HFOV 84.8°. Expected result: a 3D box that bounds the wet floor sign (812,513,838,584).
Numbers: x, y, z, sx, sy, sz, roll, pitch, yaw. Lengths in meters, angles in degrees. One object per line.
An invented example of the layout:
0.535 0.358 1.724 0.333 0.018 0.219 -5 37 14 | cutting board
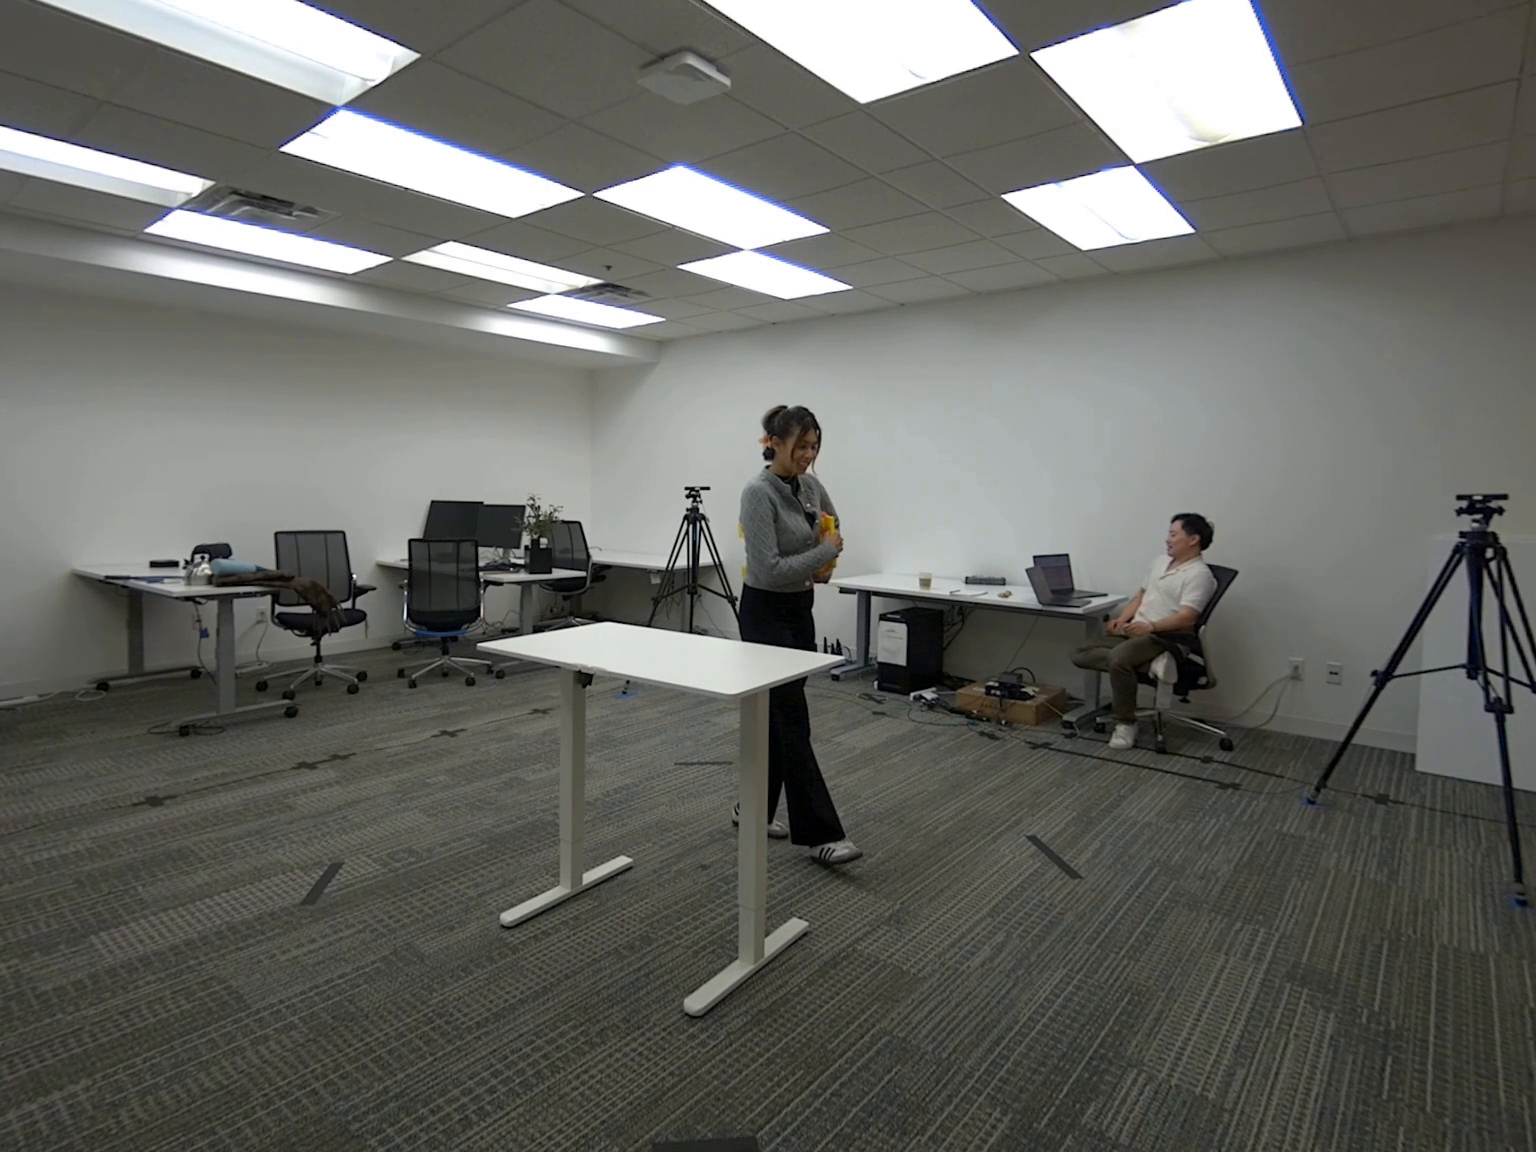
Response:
0.134 -0.127 3.554 0.284 0.283 0.657 -2 -1 -20 | wet floor sign
